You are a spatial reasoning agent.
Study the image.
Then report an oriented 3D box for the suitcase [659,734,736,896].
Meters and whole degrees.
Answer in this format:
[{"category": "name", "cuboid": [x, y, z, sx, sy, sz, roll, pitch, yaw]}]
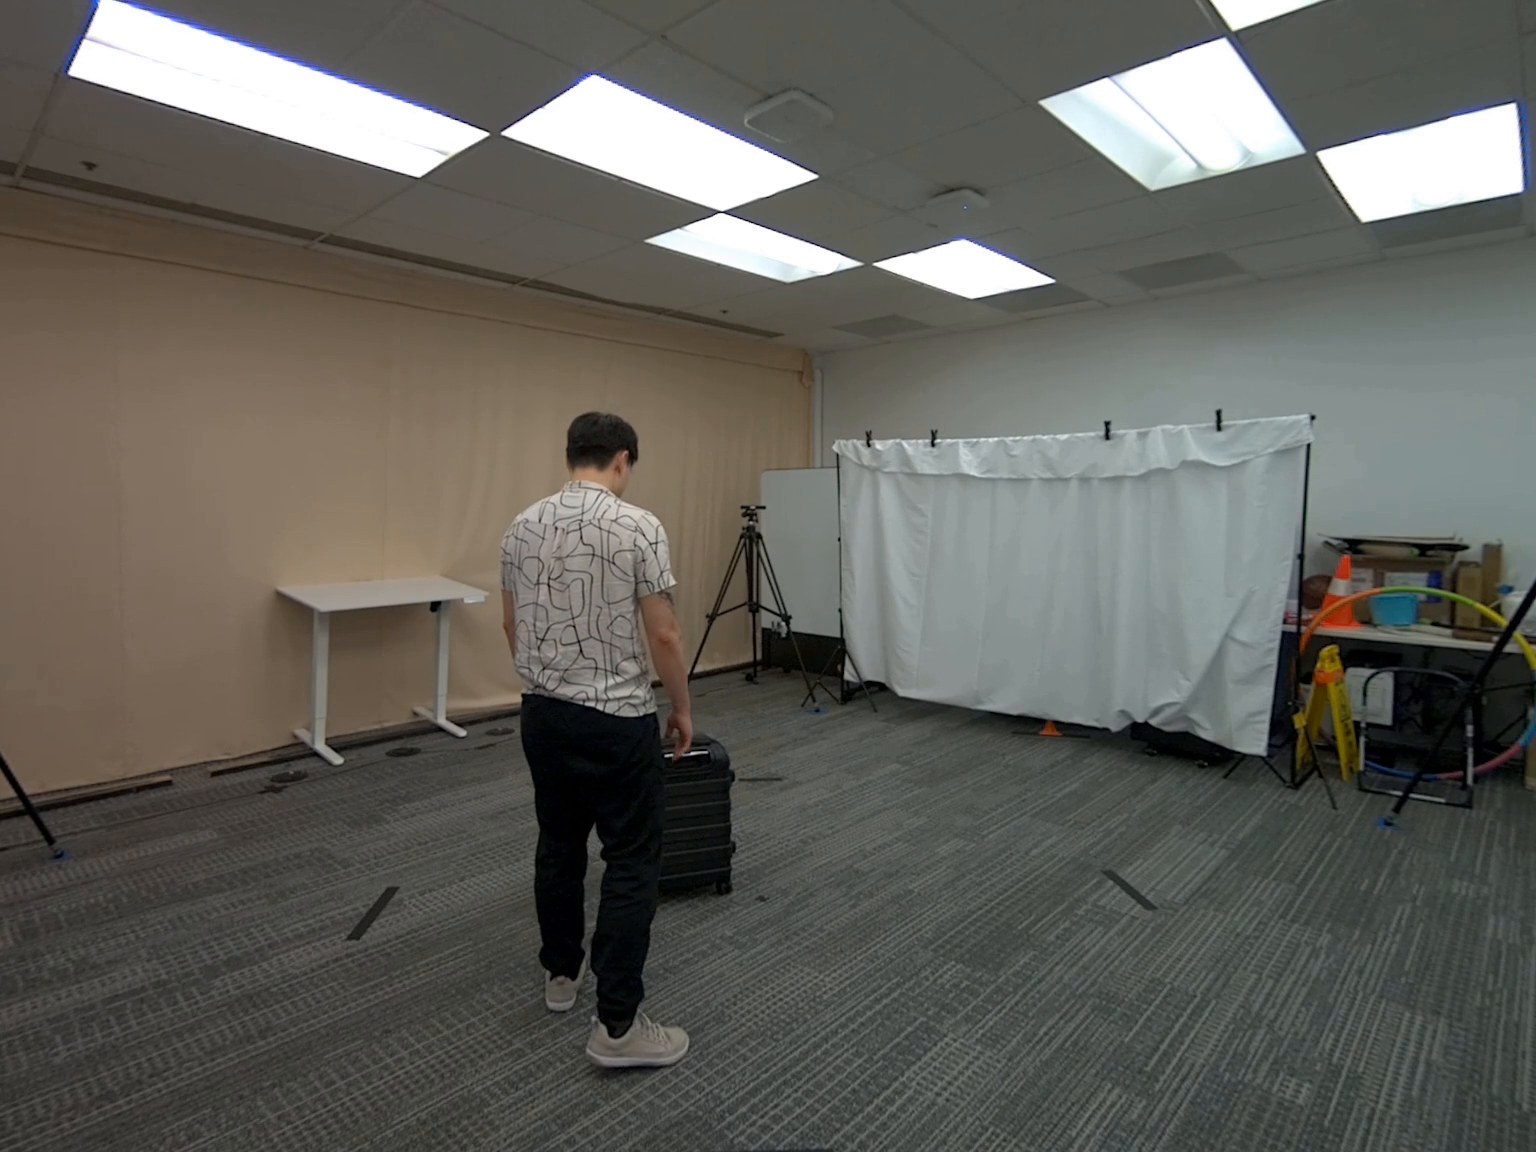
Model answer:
[{"category": "suitcase", "cuboid": [-0.323, 0.861, 3.051, 0.368, 0.548, 0.254, -2, 3, -20]}]
